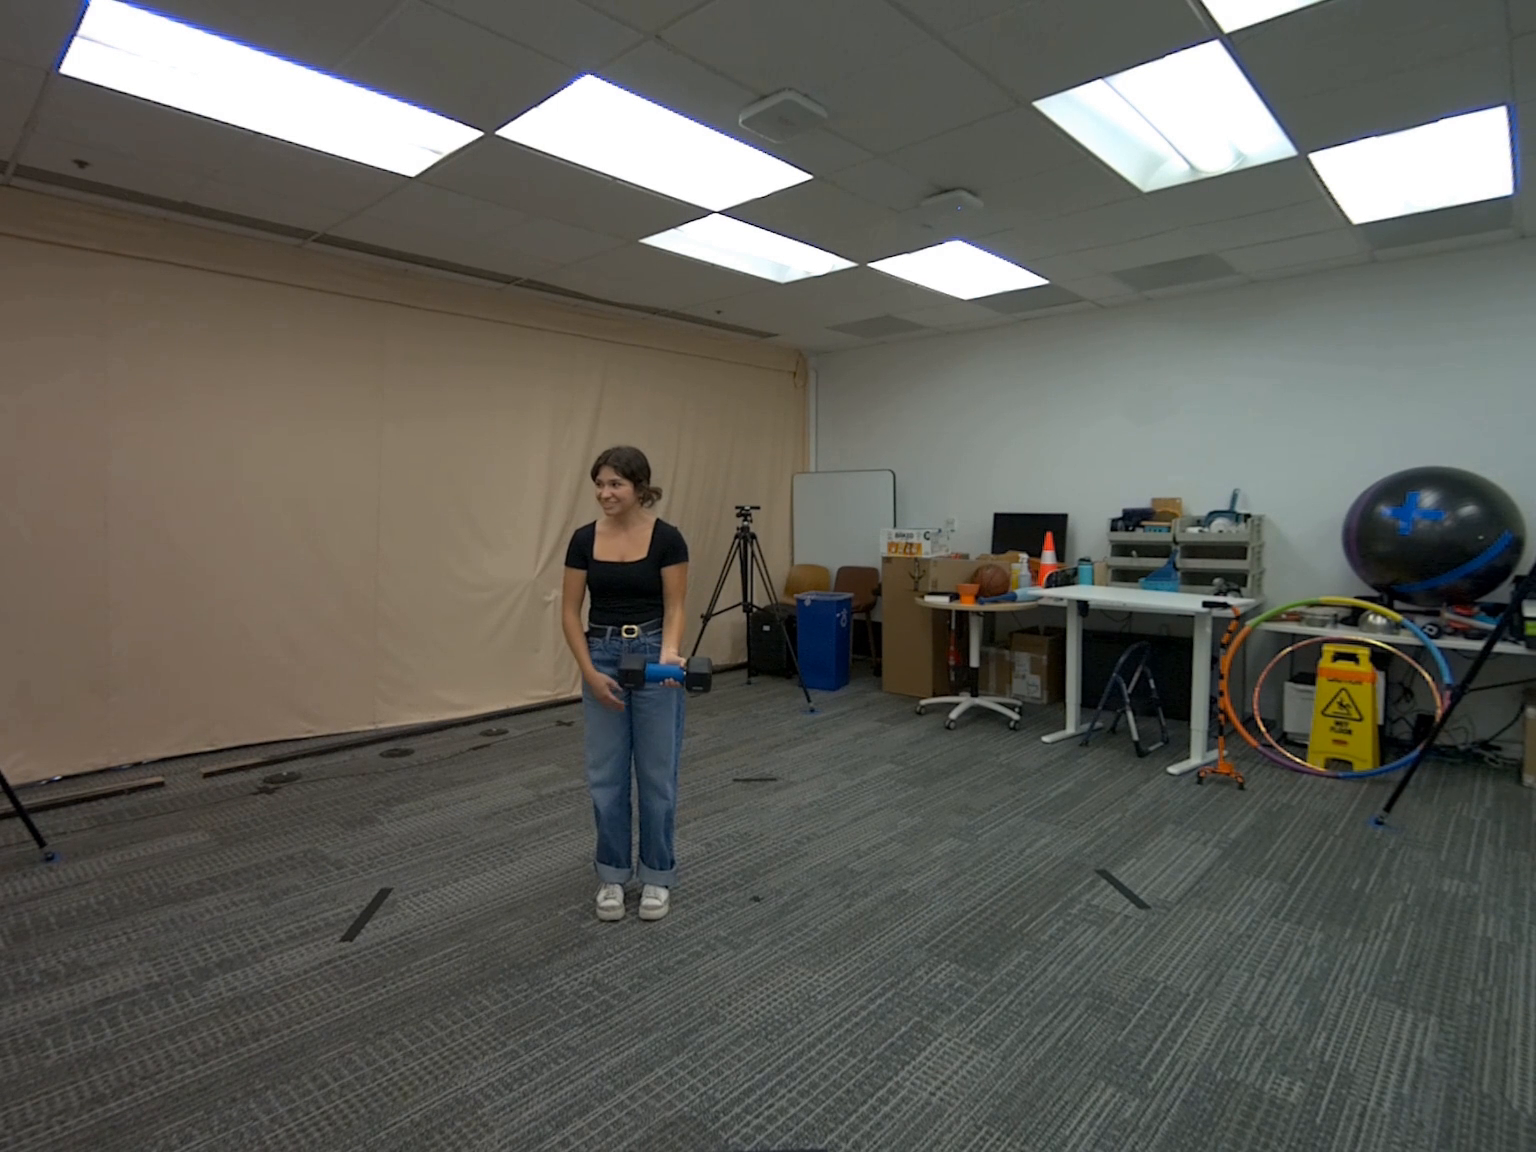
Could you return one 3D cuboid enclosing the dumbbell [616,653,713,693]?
[{"bbox_3d":[-0.327,0.296,2.655,0.294,0.107,0.125,3,42,1],"label":"dumbbell"}]
